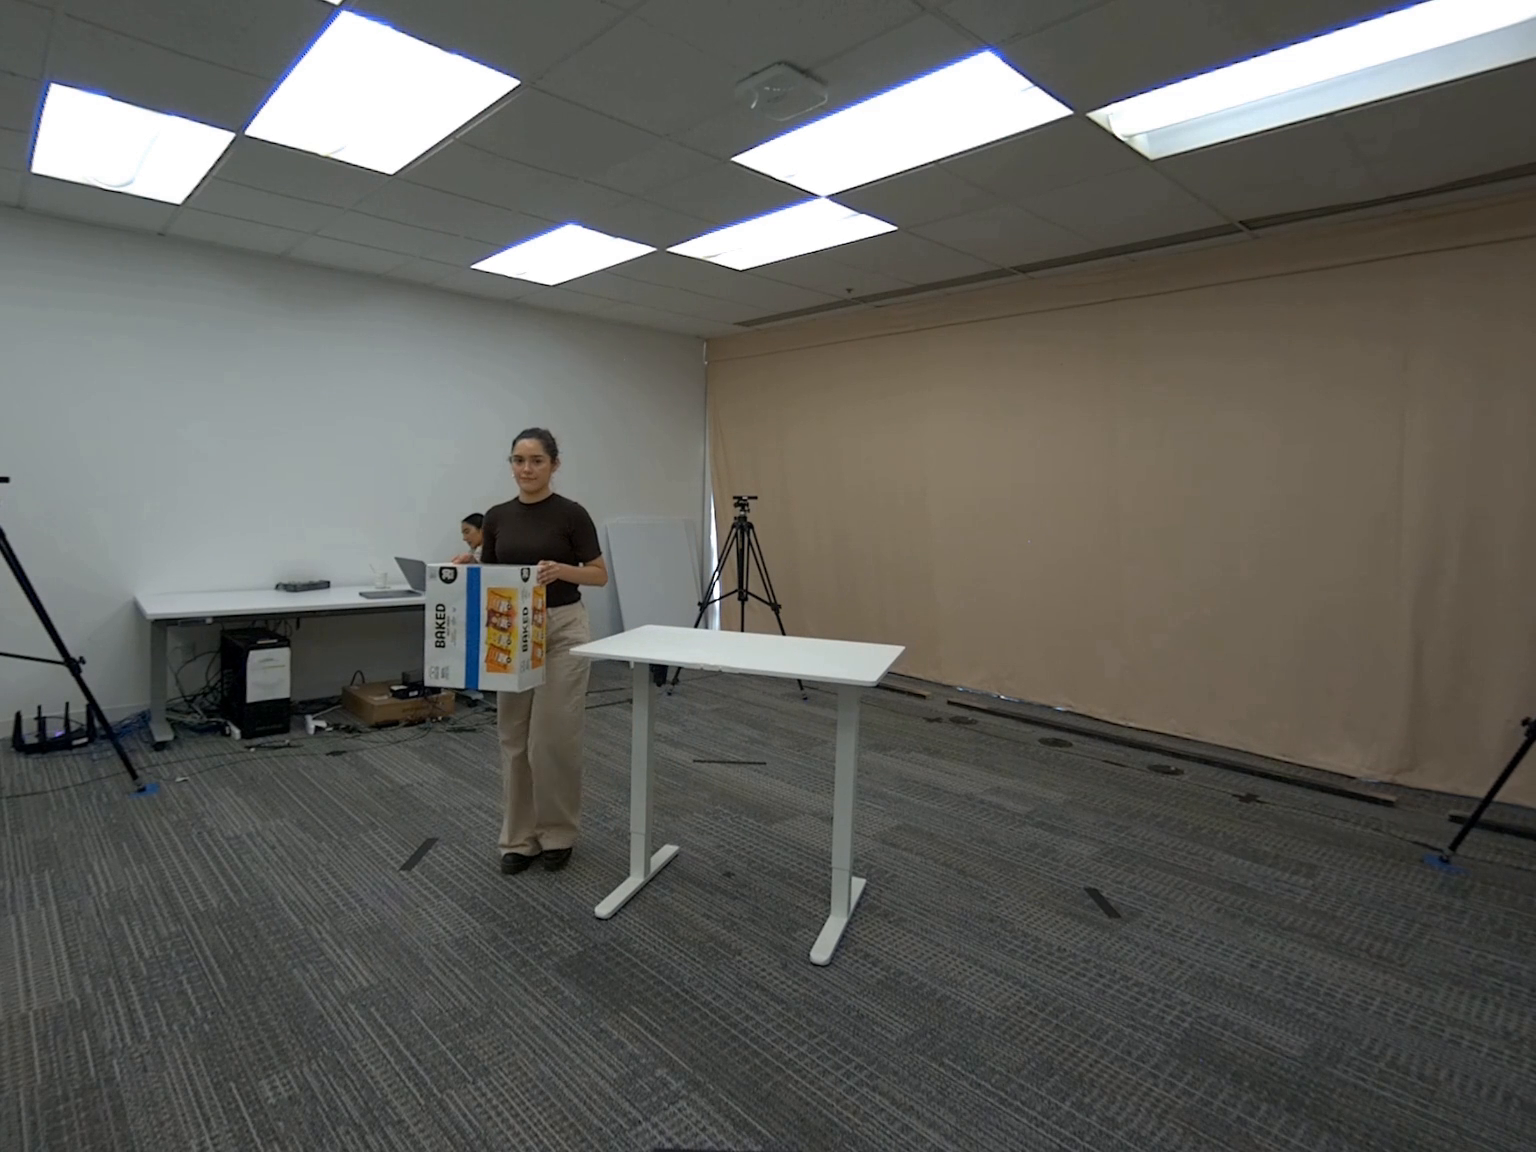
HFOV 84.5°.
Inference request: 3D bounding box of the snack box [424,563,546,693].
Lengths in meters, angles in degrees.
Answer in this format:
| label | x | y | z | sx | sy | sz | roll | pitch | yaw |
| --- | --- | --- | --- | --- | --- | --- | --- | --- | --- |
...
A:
| label | x | y | z | sx | sy | sz | roll | pitch | yaw |
| --- | --- | --- | --- | --- | --- | --- | --- | --- | --- |
| snack box | -0.960 | 0.168 | 2.830 | 0.344 | 0.405 | 0.203 | 1 | 1 | 13 |
